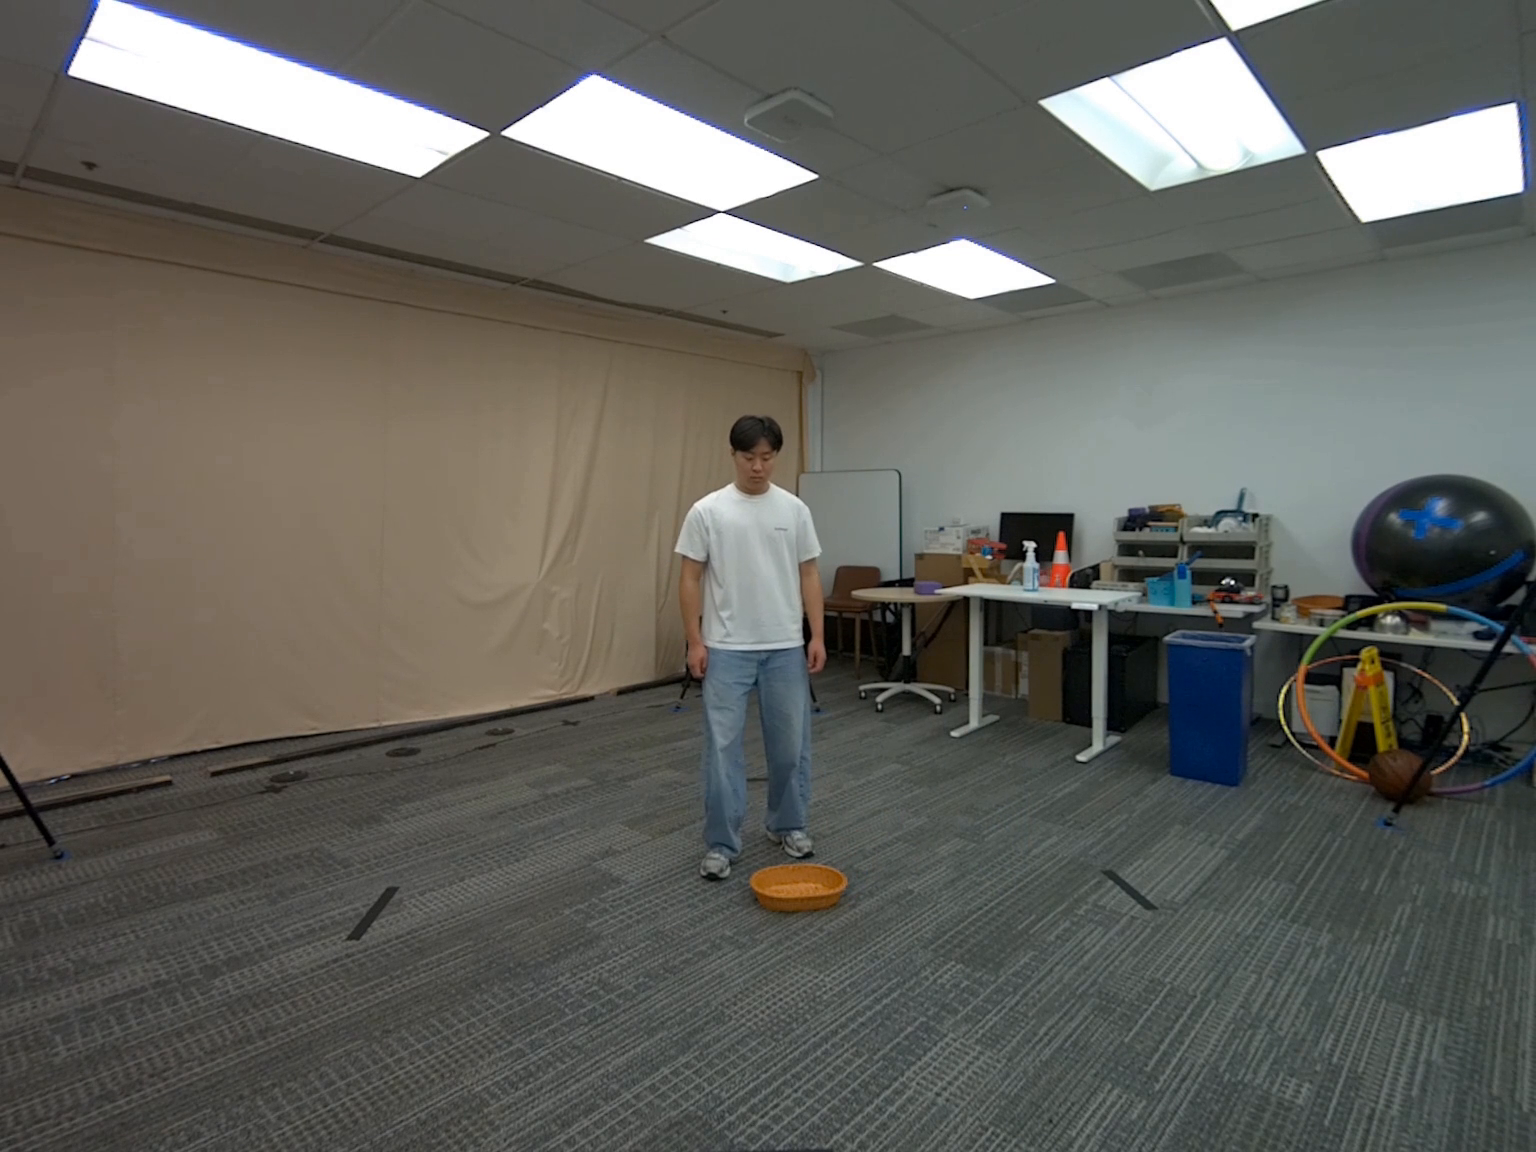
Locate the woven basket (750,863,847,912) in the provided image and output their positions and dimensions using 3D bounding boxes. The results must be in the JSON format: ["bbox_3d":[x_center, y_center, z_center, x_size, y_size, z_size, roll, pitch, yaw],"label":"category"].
[{"bbox_3d":[0.105,1.100,2.979,0.347,0.073,0.255,-1,5,-9],"label":"woven basket"}]
